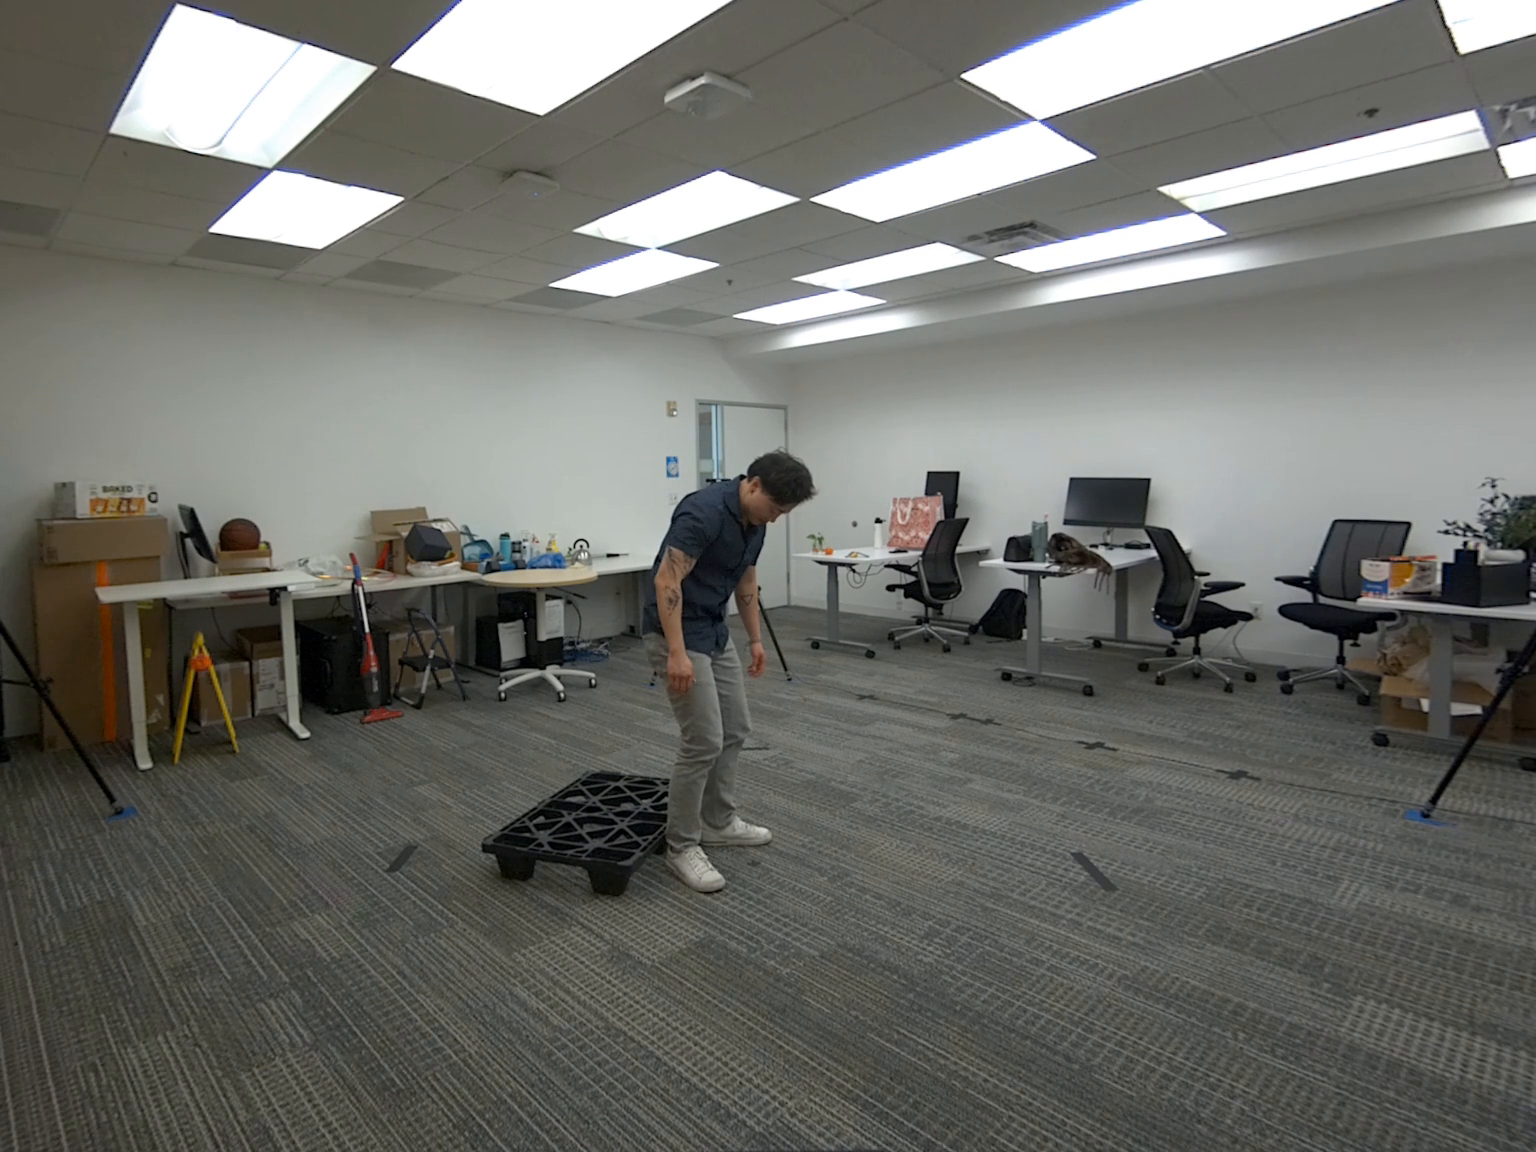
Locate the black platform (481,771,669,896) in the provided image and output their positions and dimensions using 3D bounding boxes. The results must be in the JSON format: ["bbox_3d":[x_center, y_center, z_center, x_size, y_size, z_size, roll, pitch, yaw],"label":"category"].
[{"bbox_3d":[-0.608,0.965,3.291,0.617,0.142,0.794,1,7,19],"label":"black platform"}]
